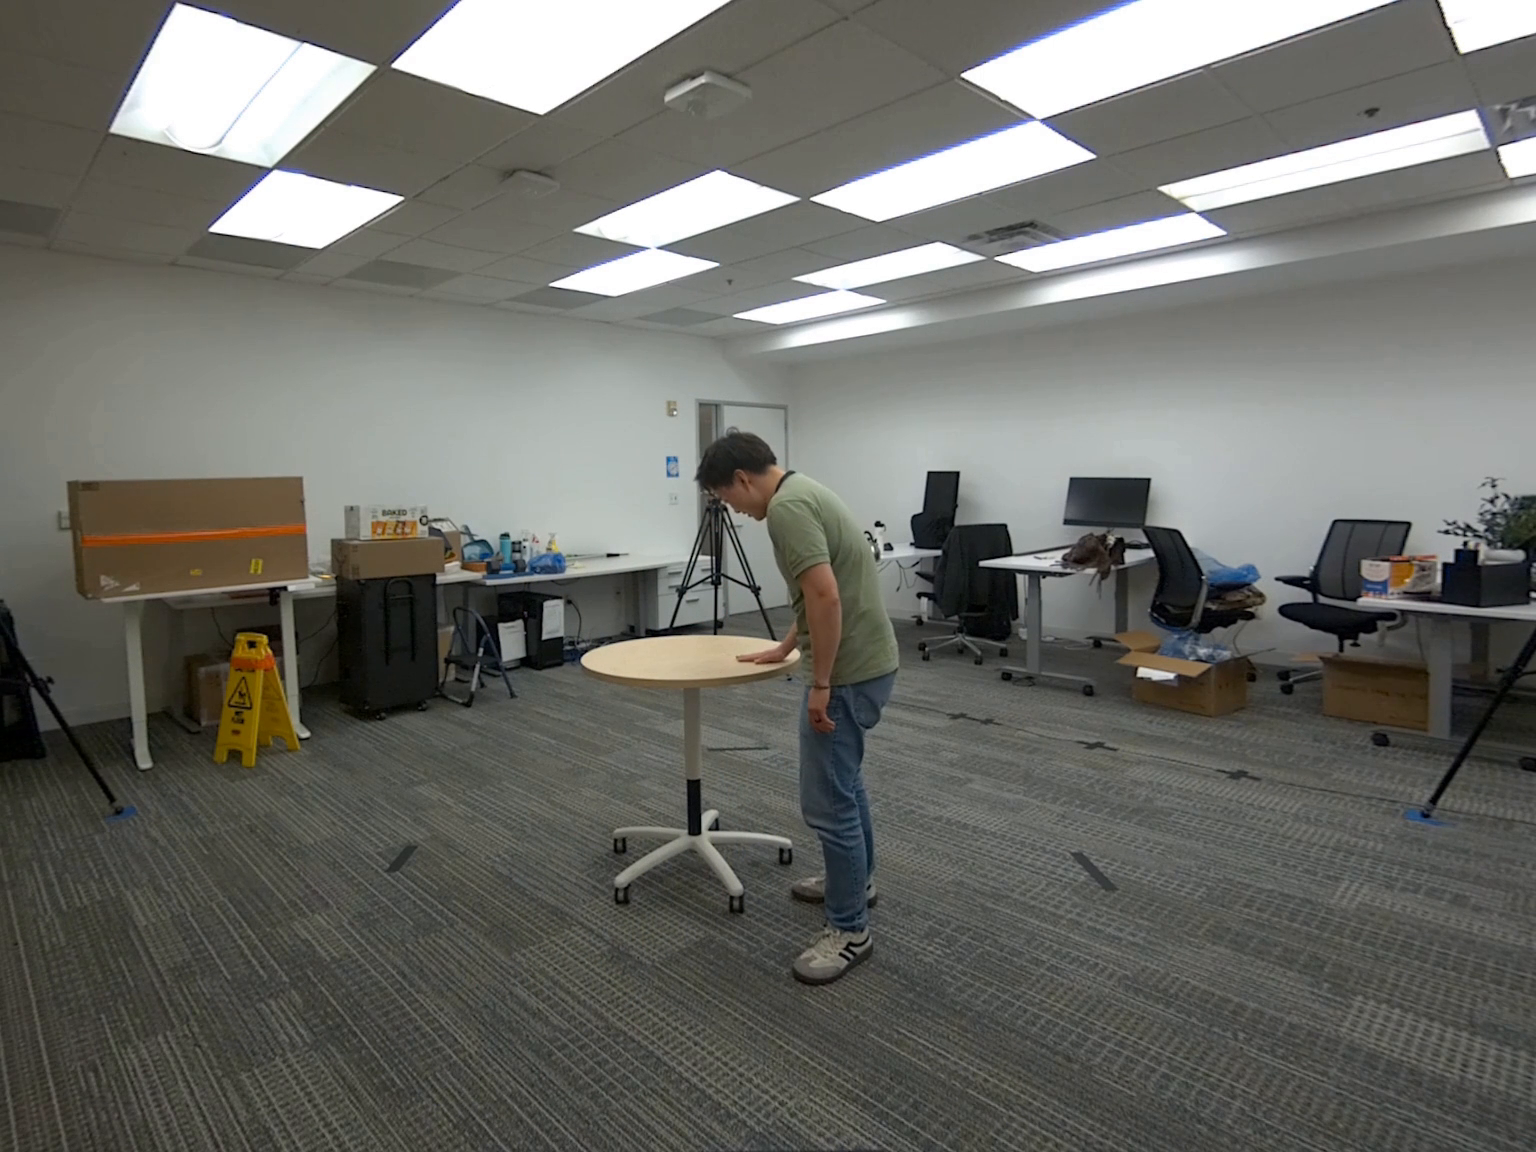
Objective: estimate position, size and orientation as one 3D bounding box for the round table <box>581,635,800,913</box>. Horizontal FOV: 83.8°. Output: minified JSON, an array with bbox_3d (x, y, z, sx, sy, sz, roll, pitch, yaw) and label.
[{"bbox_3d":[-0.264,0.669,3.025,0.763,0.791,0.768,-1,5,-2],"label":"round table"}]
